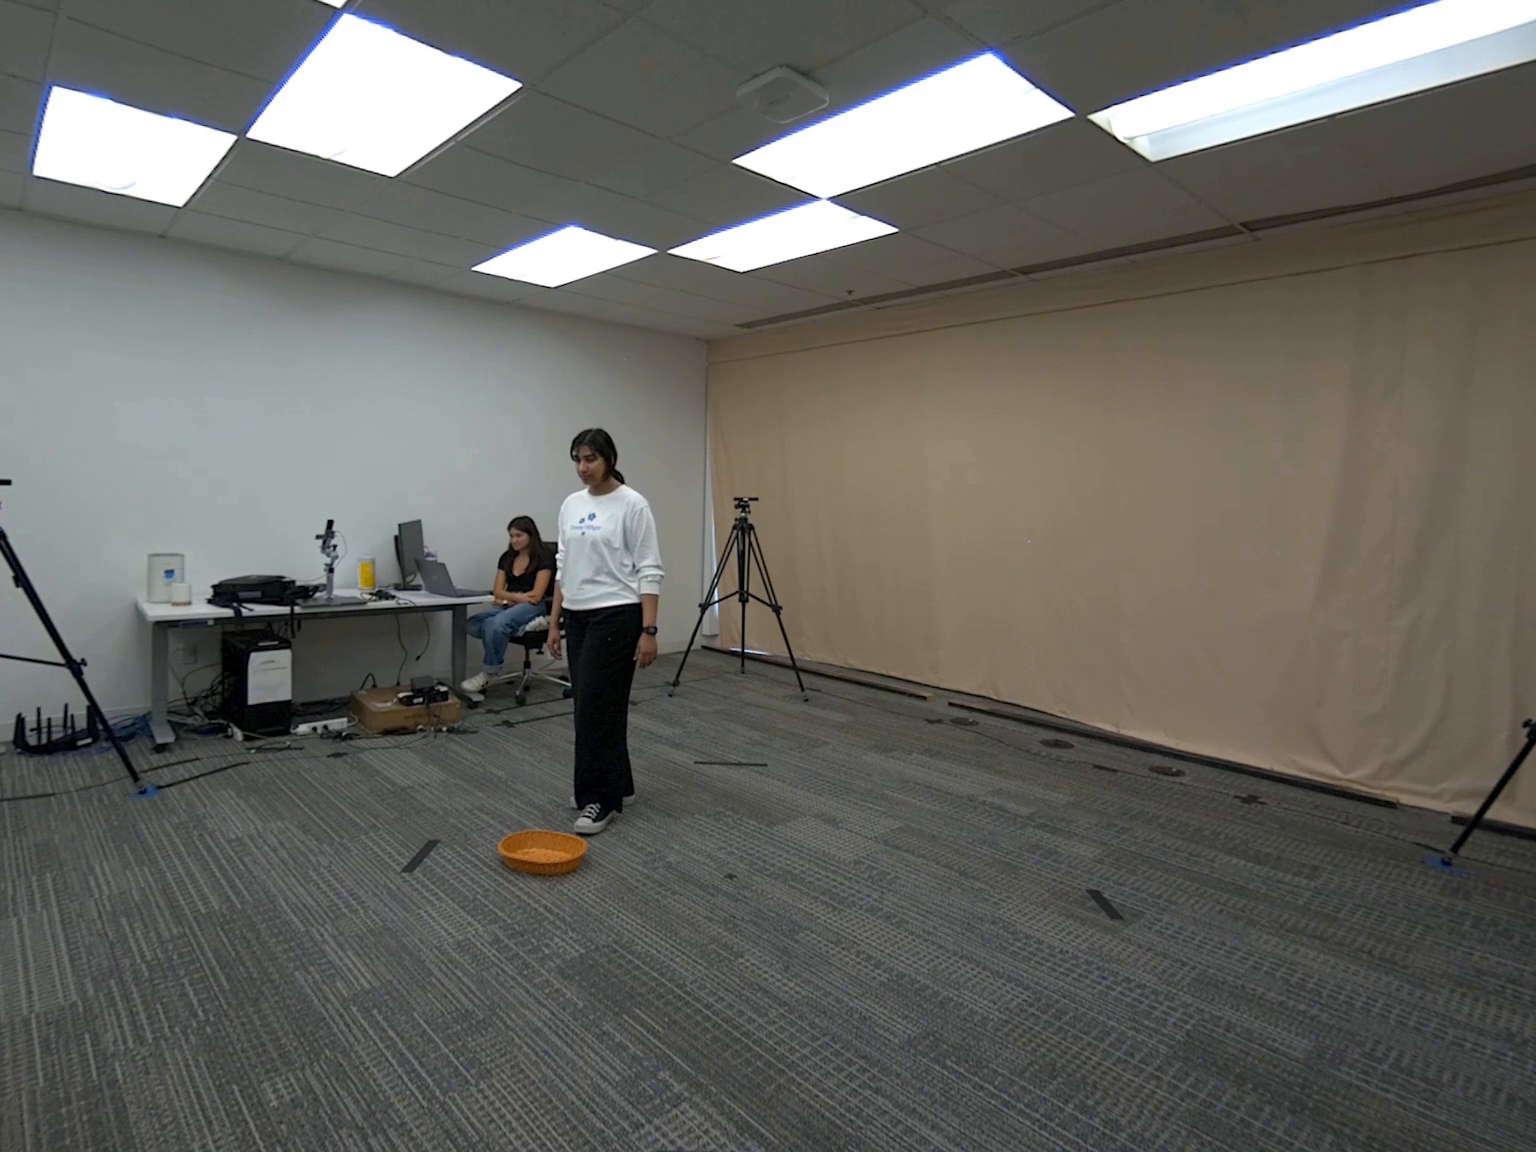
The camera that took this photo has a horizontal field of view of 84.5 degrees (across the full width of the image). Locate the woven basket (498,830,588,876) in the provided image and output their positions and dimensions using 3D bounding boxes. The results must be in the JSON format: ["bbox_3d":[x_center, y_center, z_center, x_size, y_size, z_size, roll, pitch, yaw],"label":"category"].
[{"bbox_3d":[-0.863,1.050,3.172,0.356,0.073,0.249,4,7,18],"label":"woven basket"}]
